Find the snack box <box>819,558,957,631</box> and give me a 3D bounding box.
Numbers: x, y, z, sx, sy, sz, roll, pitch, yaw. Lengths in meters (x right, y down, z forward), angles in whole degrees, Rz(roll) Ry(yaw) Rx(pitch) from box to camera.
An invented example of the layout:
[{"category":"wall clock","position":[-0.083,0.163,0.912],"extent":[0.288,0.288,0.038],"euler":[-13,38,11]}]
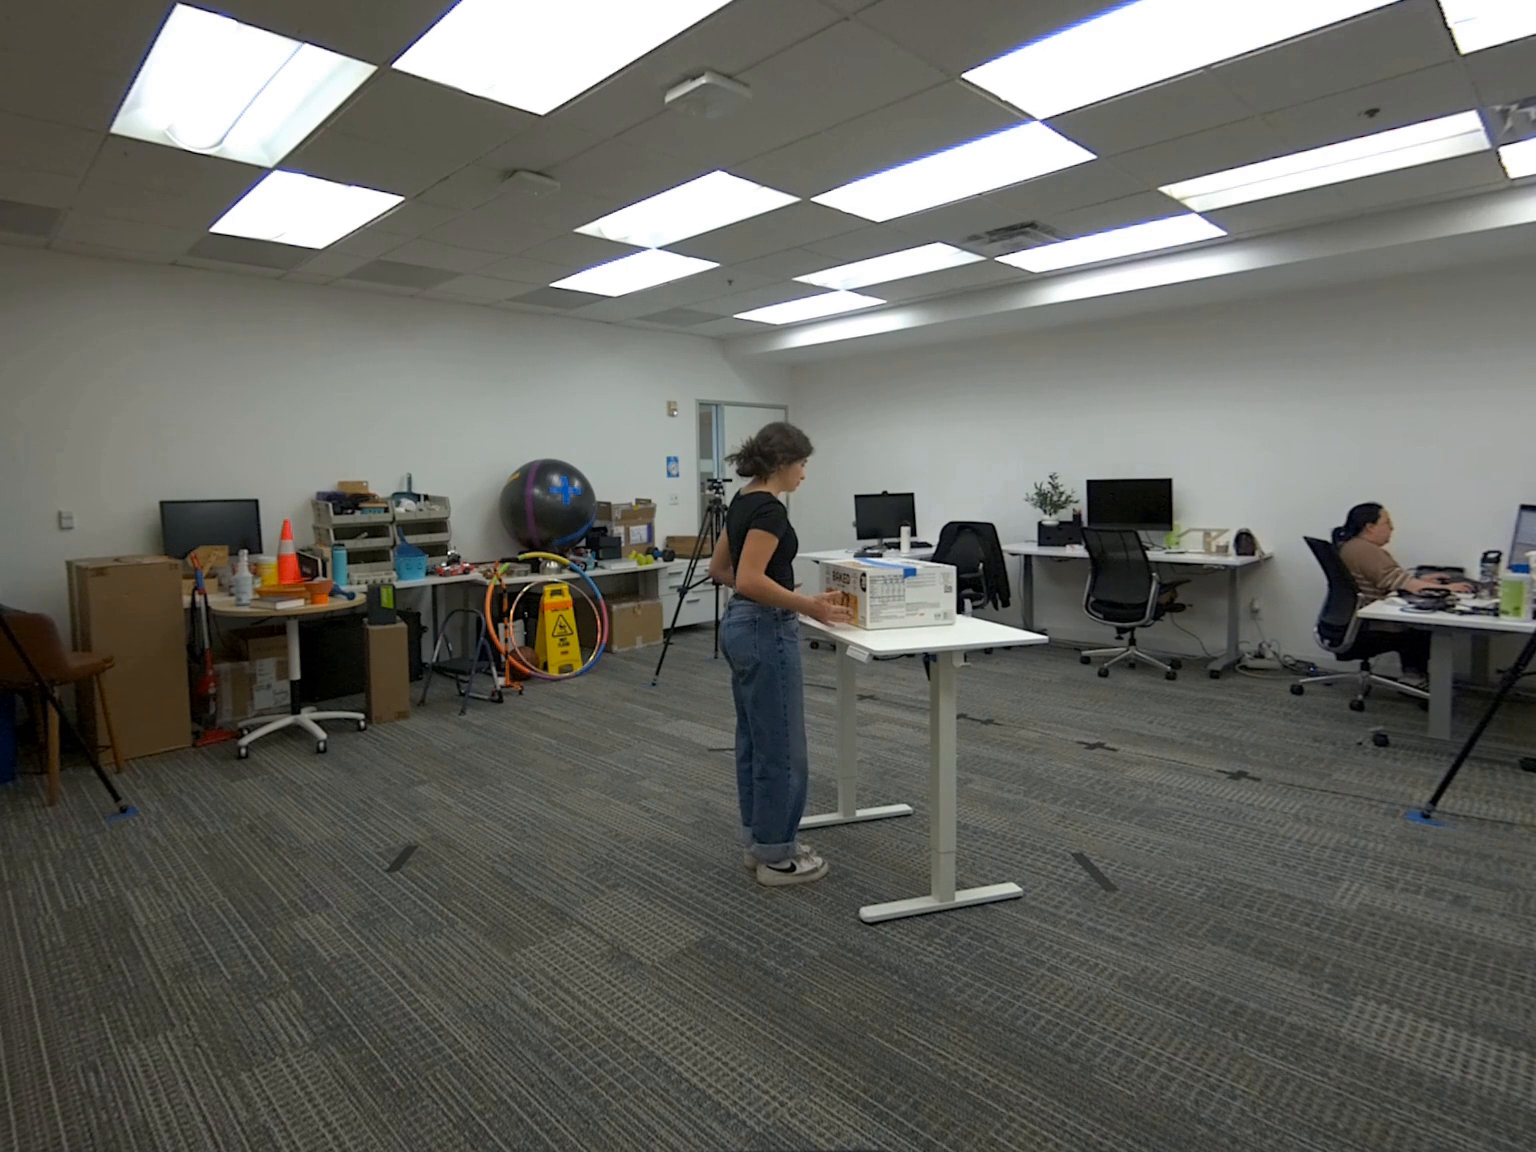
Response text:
[{"category":"snack box","position":[0.419,0.055,3.083],"extent":[0.335,0.205,0.413],"euler":[-3,6,-18]}]
